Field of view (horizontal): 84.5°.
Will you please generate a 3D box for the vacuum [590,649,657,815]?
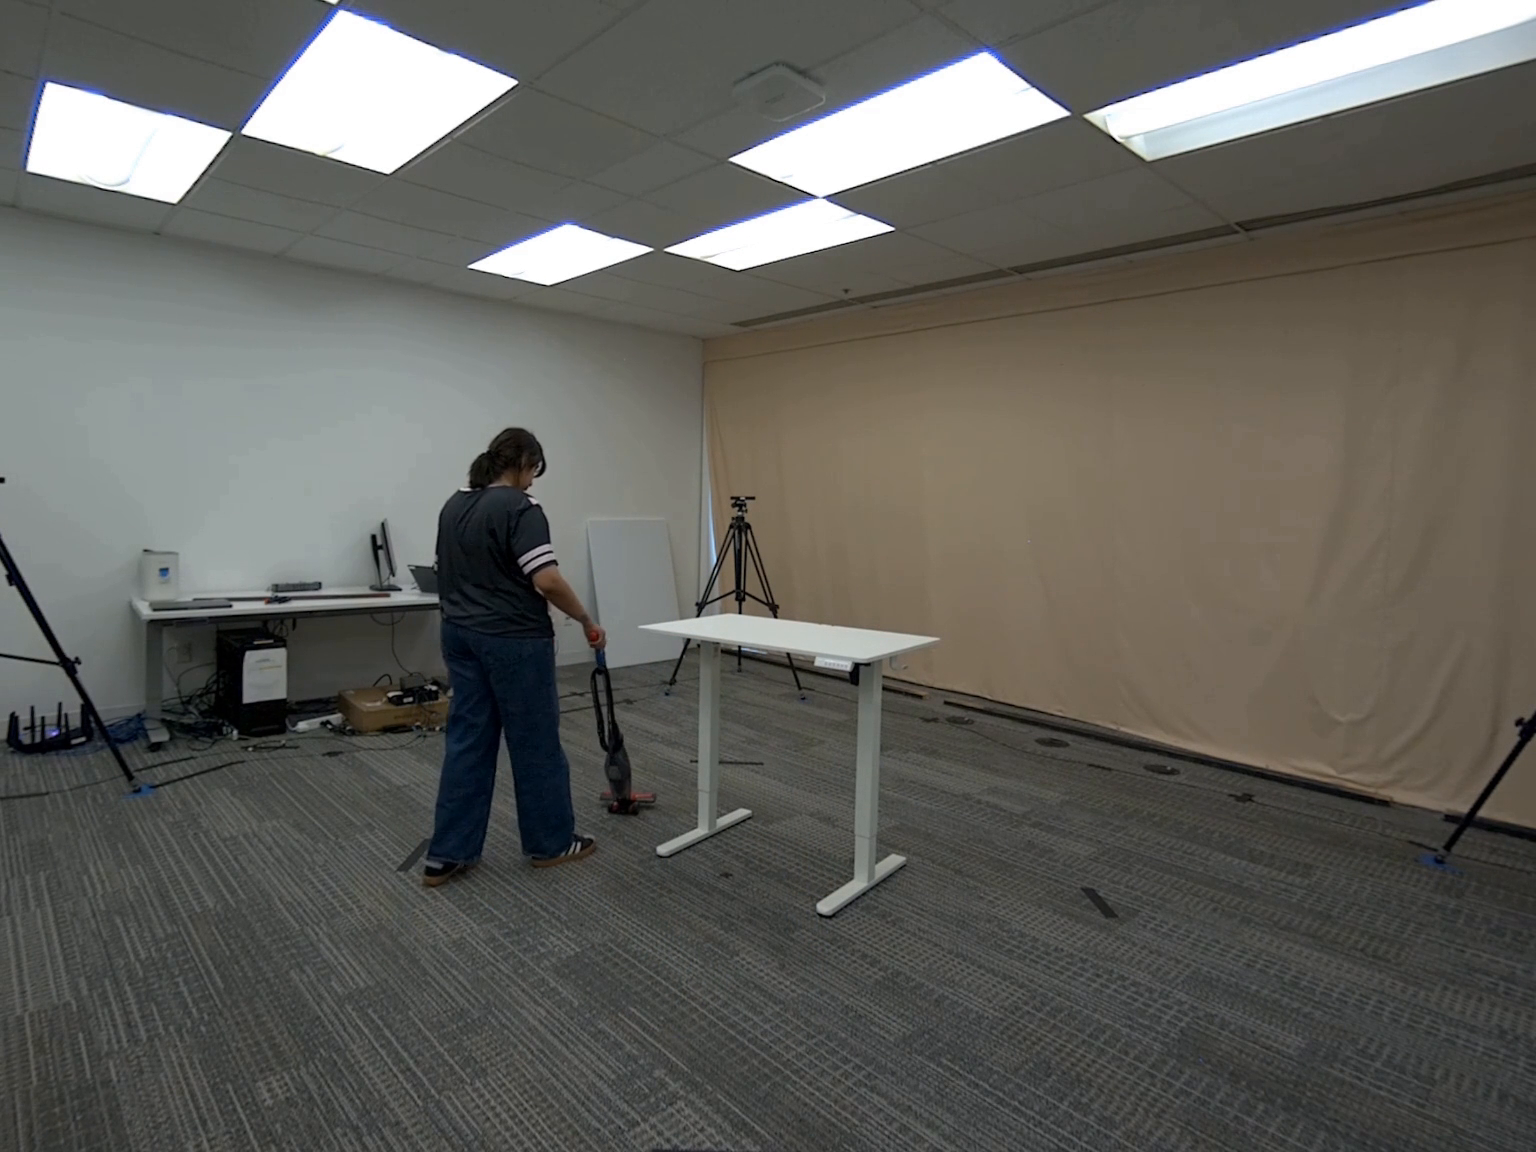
[{"bbox_3d":[-0.651,0.632,3.422,0.254,1.025,0.146,3,40,6],"label":"vacuum"}]
